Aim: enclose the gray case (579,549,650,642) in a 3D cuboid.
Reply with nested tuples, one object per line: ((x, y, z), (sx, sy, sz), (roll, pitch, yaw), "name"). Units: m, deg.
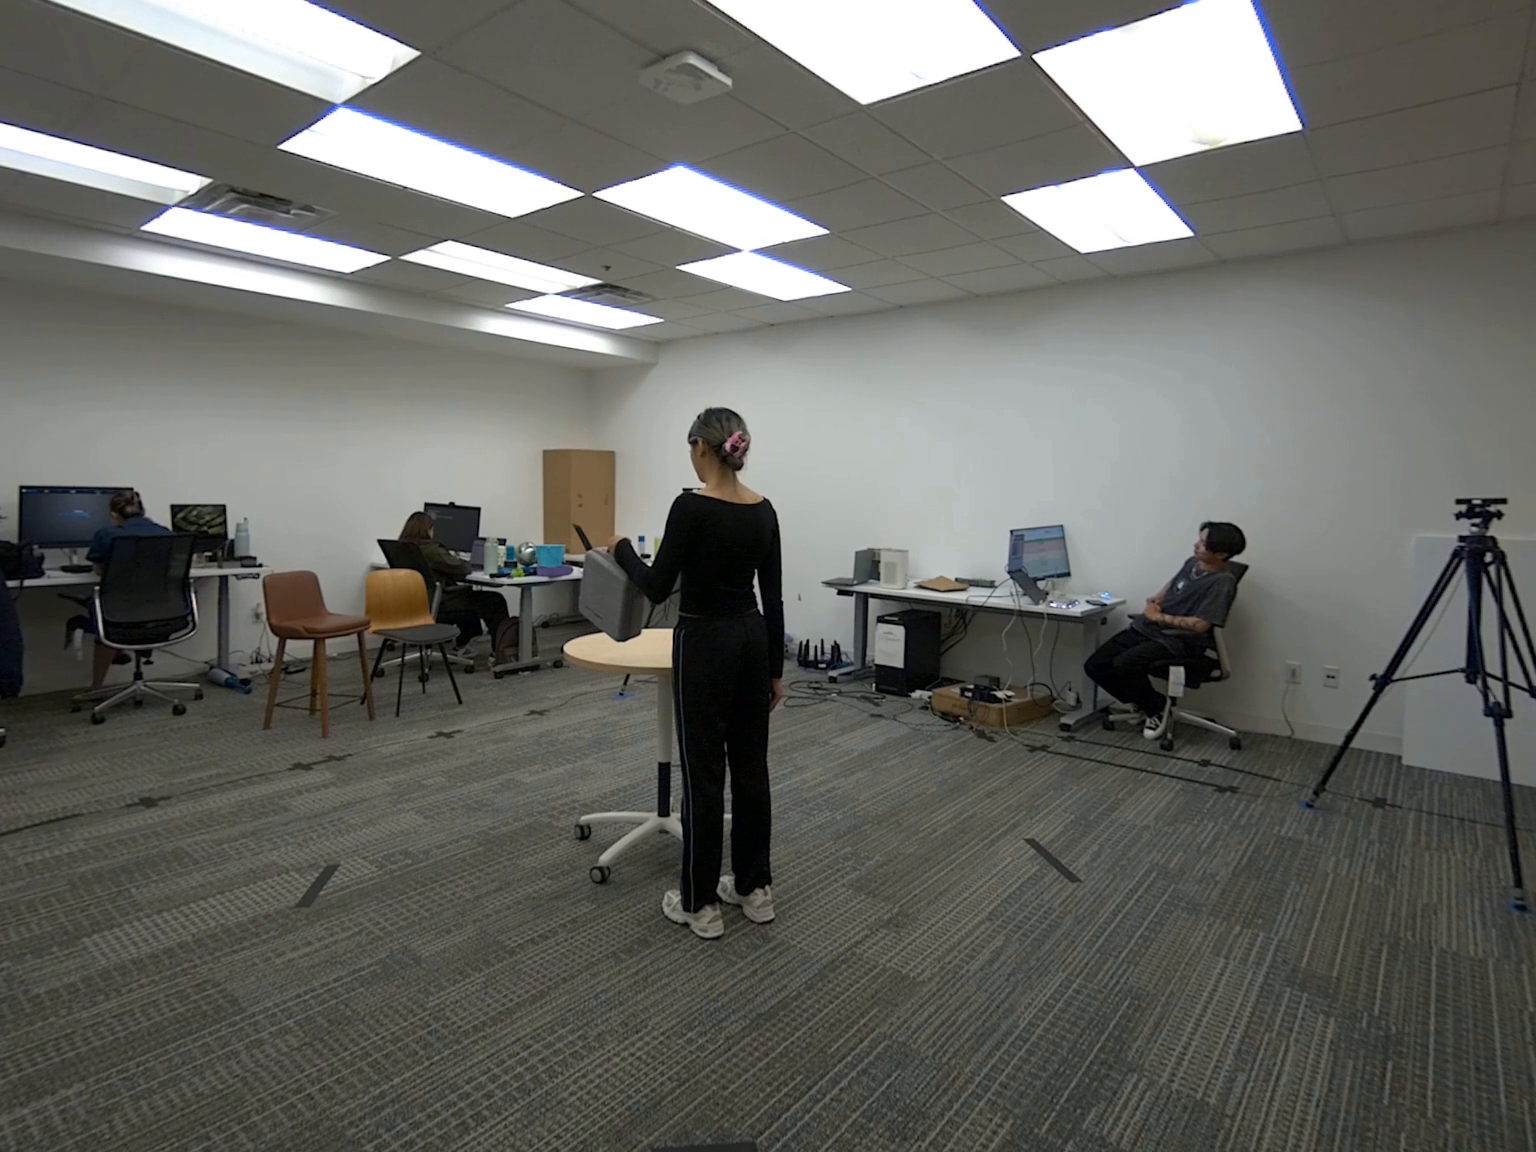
((-0.537, 0.053, 2.867), (0.102, 0.256, 0.268), (-11, 32, -41), "gray case")
